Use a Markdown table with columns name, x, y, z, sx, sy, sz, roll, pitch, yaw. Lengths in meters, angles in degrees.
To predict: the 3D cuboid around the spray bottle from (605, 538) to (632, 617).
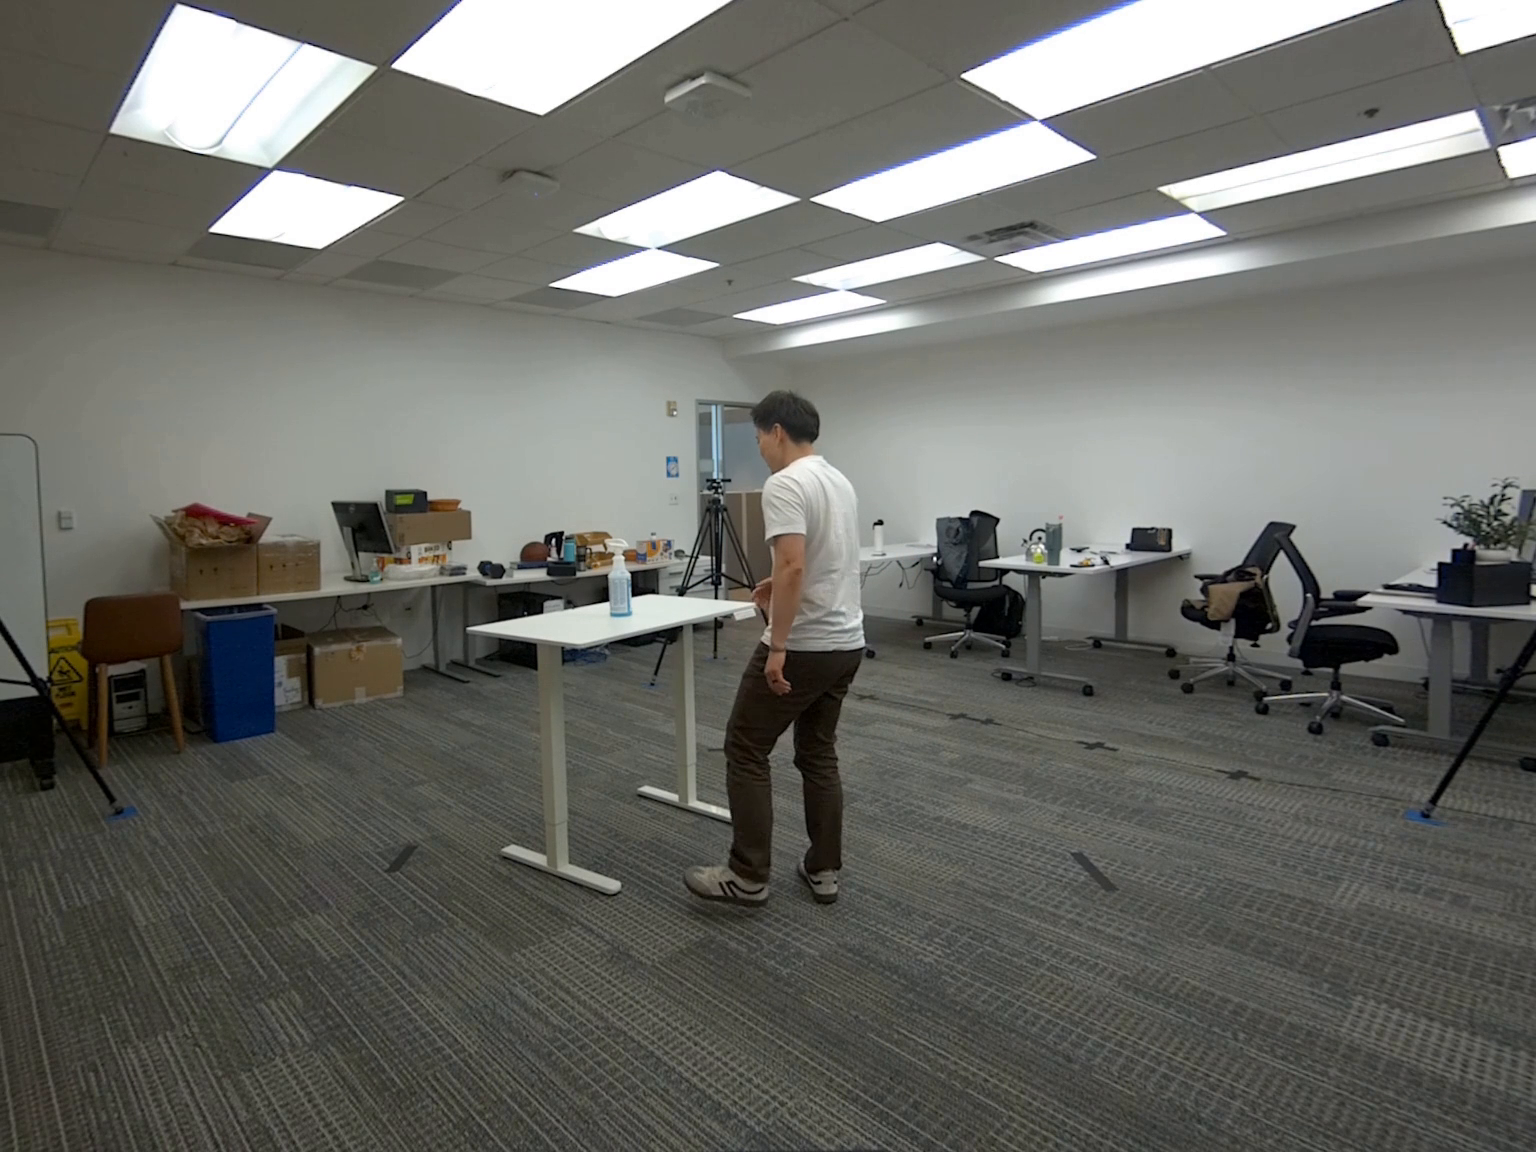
| name | x | y | z | sx | sy | sz | roll | pitch | yaw |
| --- | --- | --- | --- | --- | --- | --- | --- | --- | --- |
| spray bottle | -0.577 | 0.007 | 3.292 | 0.092 | 0.296 | 0.085 | 1 | 5 | 31 |
